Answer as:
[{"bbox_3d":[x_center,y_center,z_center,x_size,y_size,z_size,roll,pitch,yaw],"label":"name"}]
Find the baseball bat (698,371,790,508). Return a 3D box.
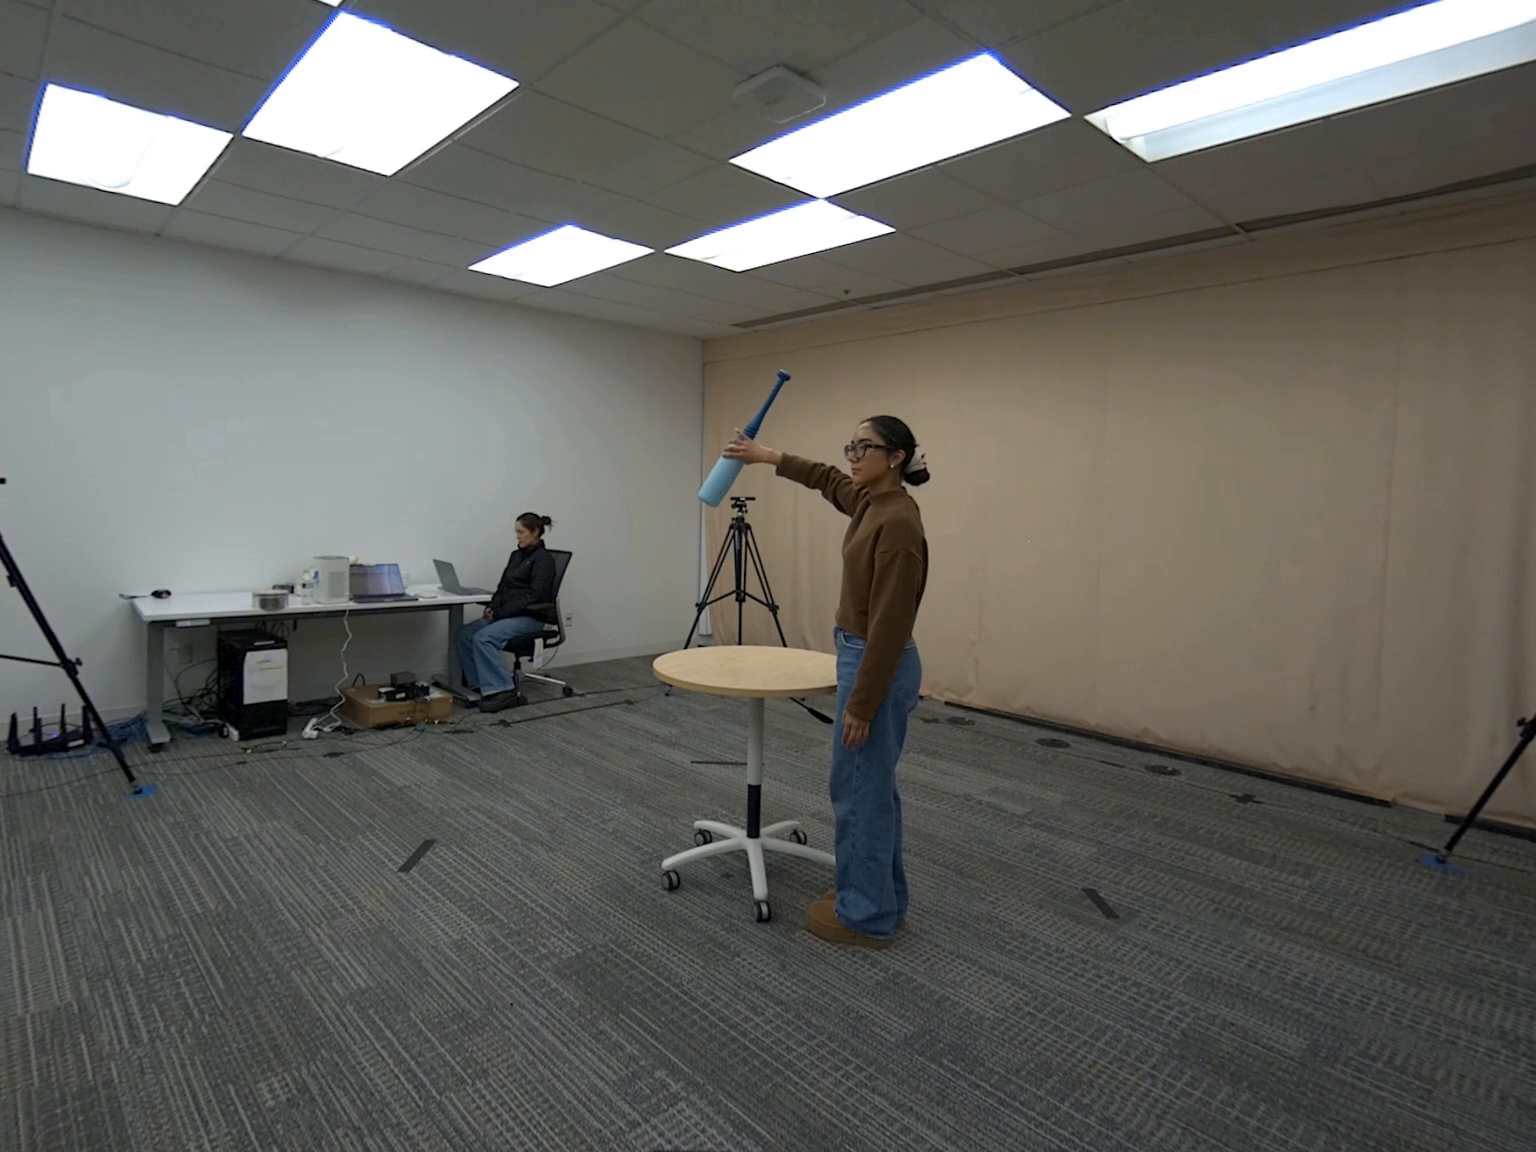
[{"bbox_3d":[-0.081,-0.493,2.990,0.089,0.542,0.089,30,3,-3],"label":"baseball bat"}]
